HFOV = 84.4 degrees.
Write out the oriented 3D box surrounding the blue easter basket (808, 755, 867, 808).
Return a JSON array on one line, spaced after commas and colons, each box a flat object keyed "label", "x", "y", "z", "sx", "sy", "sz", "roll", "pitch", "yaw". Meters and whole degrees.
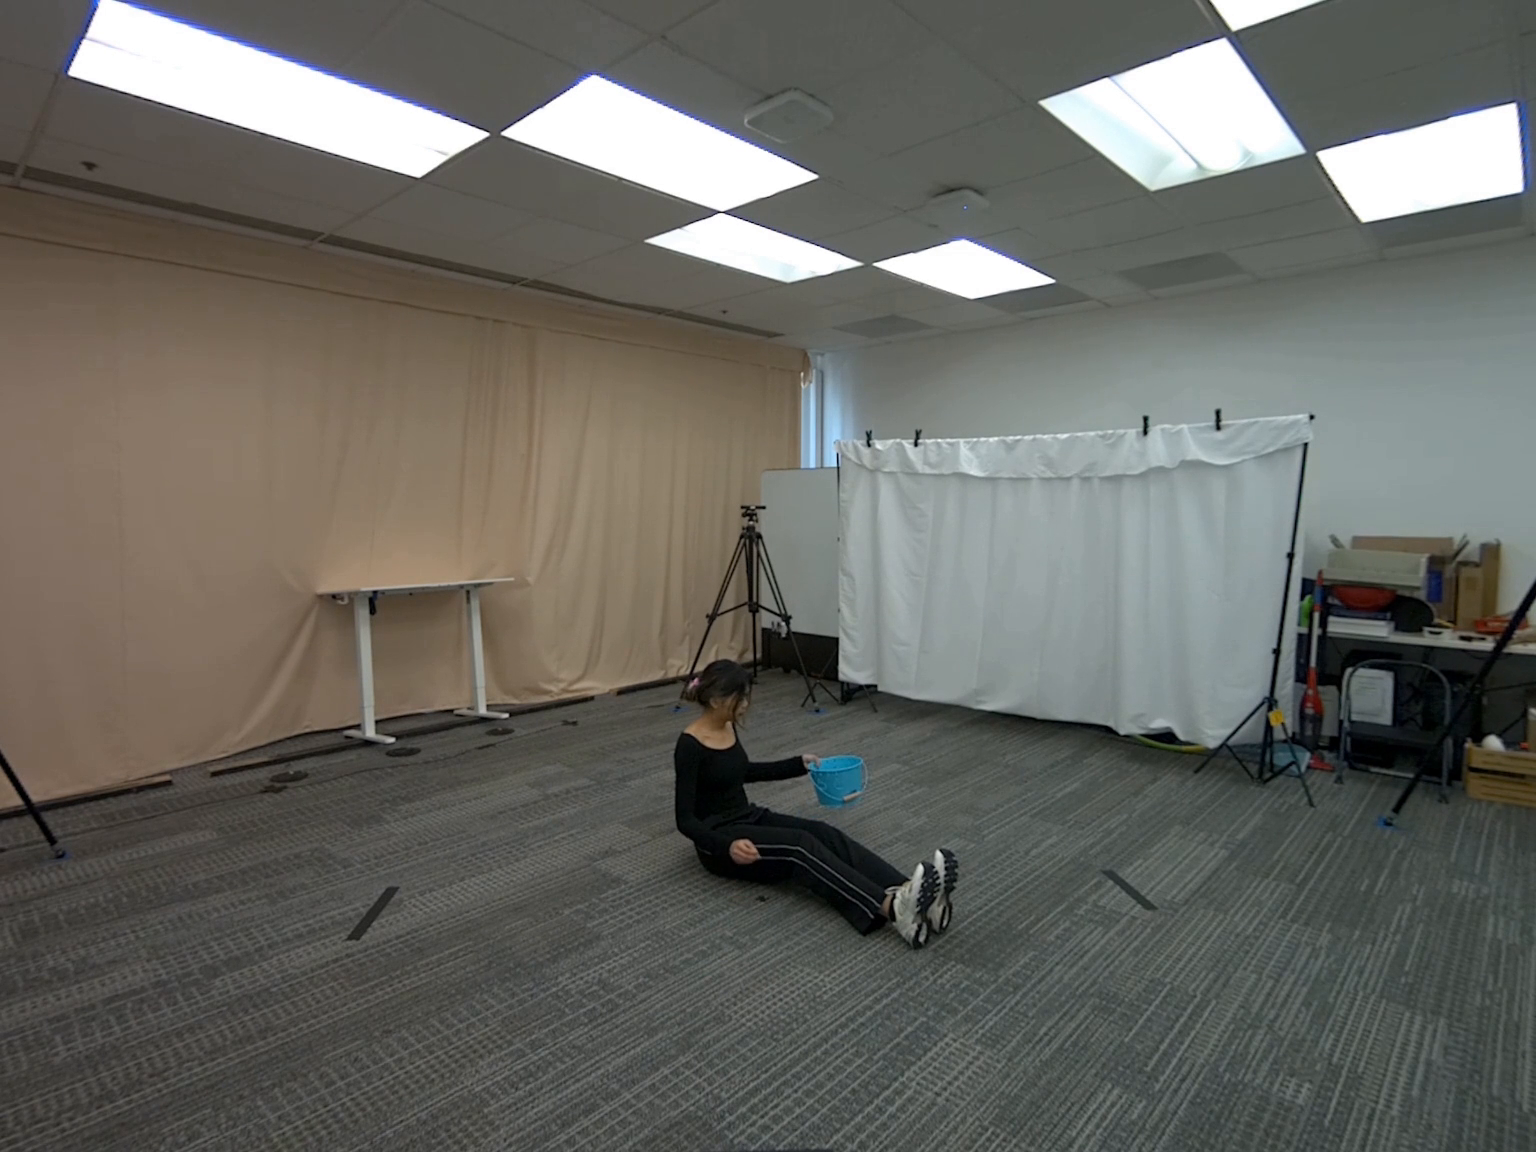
[{"label": "blue easter basket", "x": 0.286, "y": 0.858, "z": 3.480, "sx": 0.243, "sy": 0.156, "sz": 0.244, "roll": -9, "pitch": 1, "yaw": -2}]
